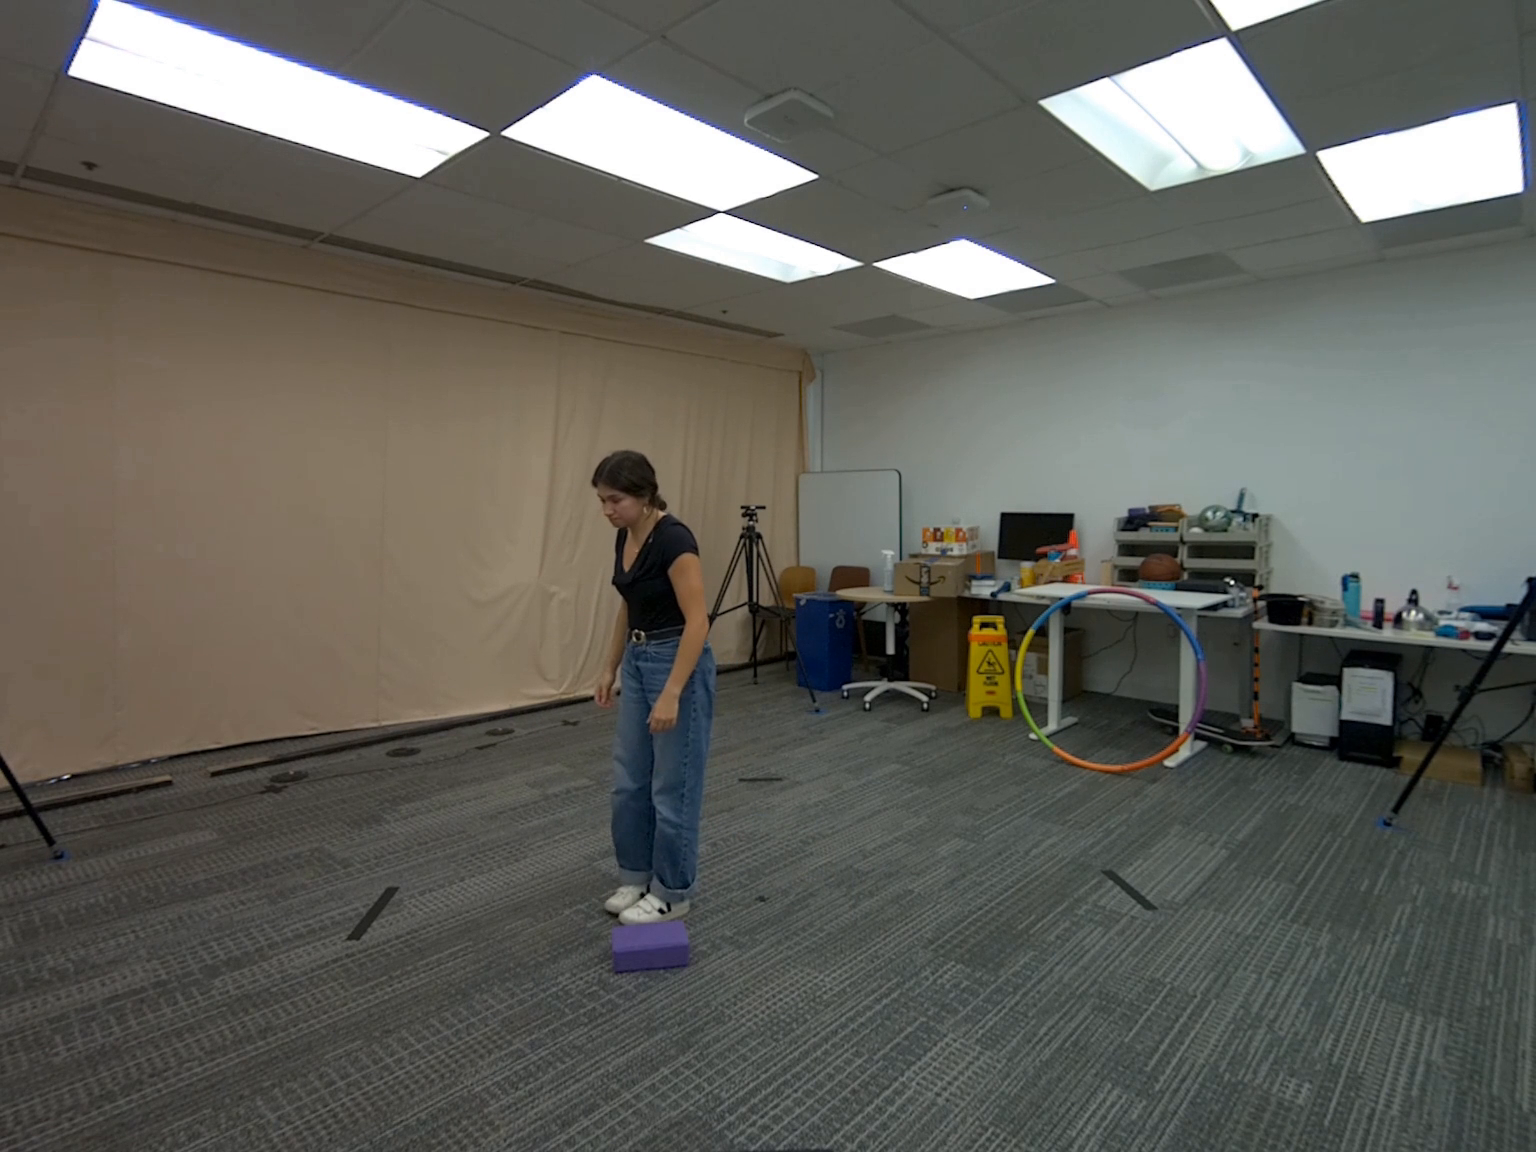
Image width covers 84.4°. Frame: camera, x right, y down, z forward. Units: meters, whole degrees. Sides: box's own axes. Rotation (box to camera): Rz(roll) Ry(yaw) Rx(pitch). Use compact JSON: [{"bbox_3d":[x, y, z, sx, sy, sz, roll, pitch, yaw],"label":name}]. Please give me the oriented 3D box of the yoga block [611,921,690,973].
[{"bbox_3d":[-0.365,1.131,2.594,0.227,0.076,0.151,1,4,-11],"label":"yoga block"}]
